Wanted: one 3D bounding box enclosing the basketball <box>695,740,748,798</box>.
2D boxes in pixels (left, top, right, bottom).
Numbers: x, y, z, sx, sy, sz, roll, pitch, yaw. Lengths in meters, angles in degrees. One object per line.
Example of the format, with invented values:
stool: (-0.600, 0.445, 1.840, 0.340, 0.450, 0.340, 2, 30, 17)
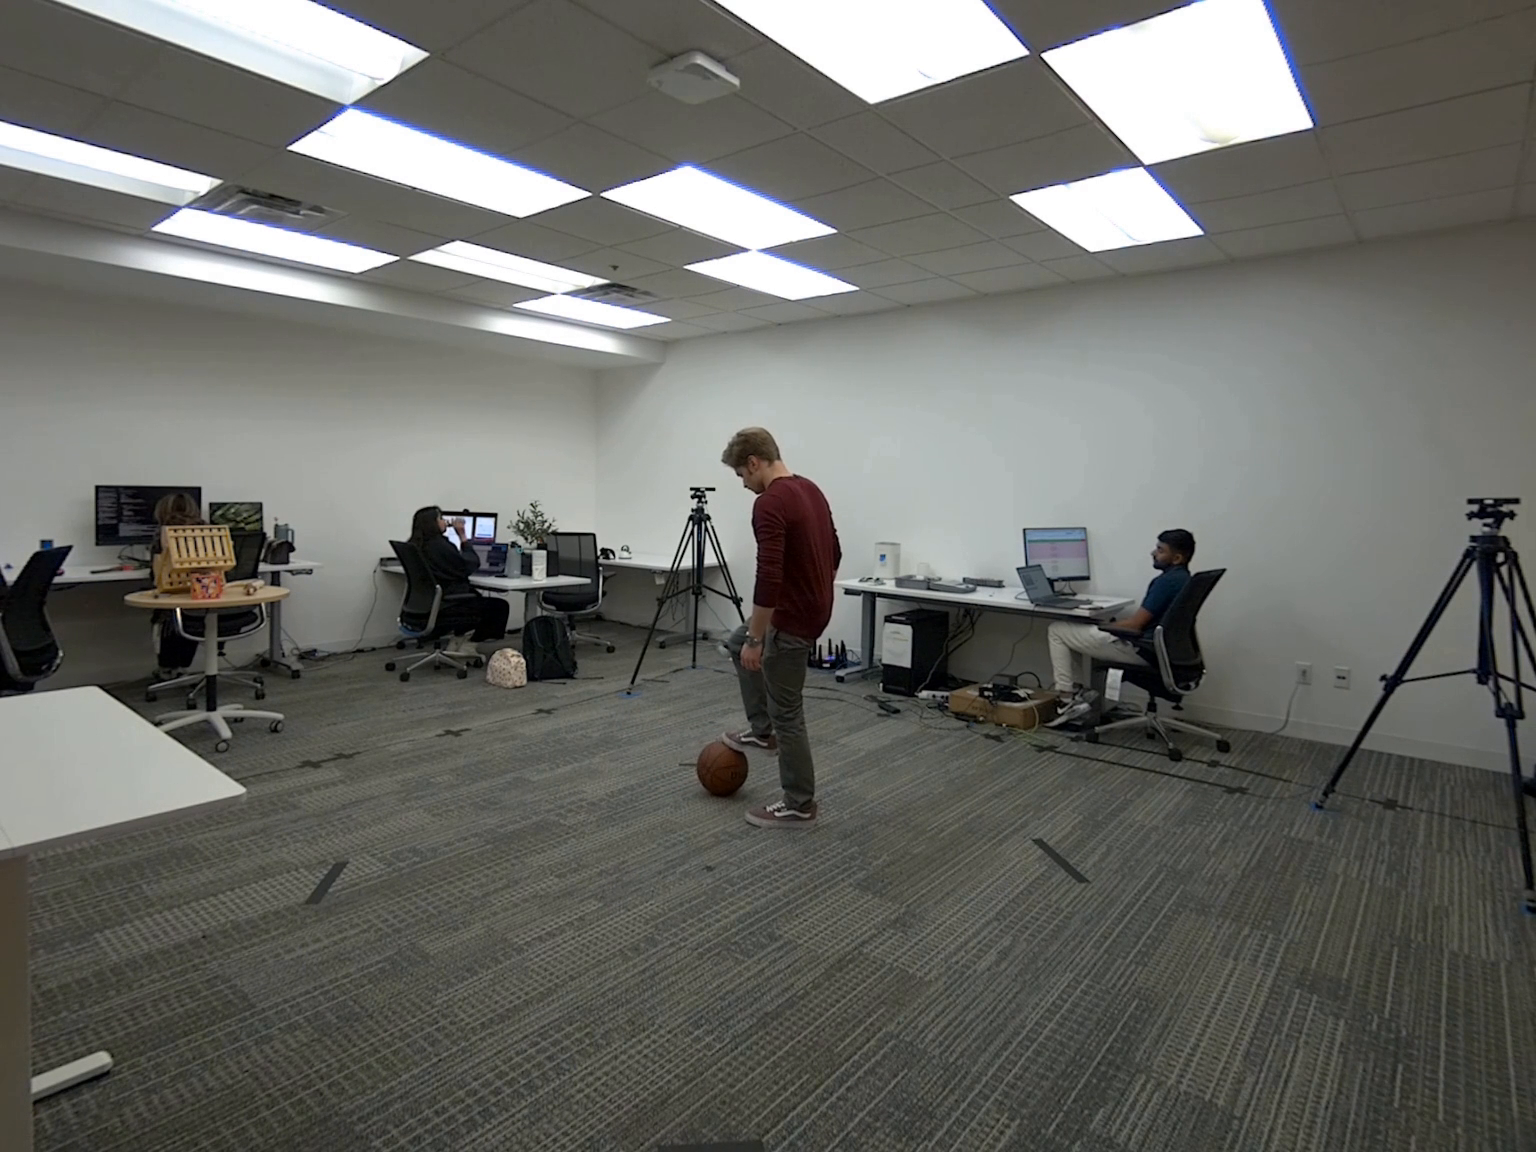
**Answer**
basketball: (-0.221, 0.869, 3.891, 0.235, 0.235, 0.237, 1, 4, -2)
